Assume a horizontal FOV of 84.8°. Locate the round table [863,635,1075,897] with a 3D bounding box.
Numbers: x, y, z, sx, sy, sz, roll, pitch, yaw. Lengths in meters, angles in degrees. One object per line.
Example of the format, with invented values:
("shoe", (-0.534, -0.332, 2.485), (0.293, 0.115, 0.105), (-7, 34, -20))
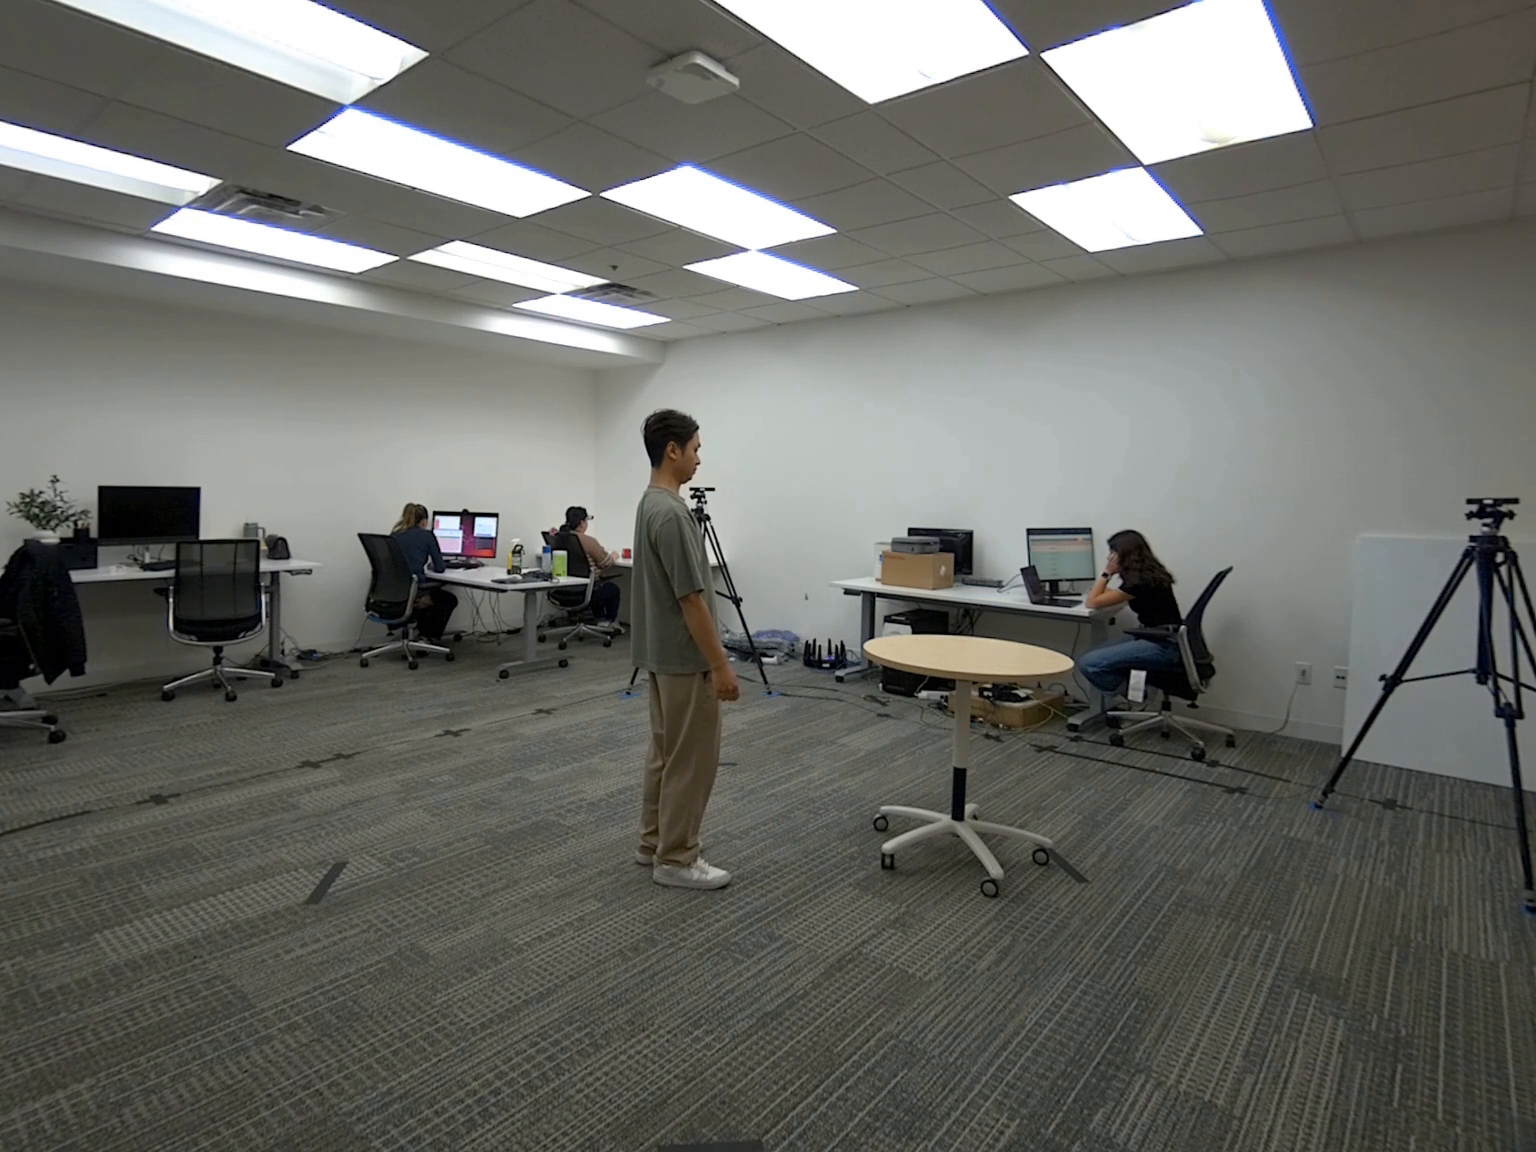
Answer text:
("round table", (0.728, 0.683, 3.247), (0.784, 0.784, 0.789), (1, 4, -2))
